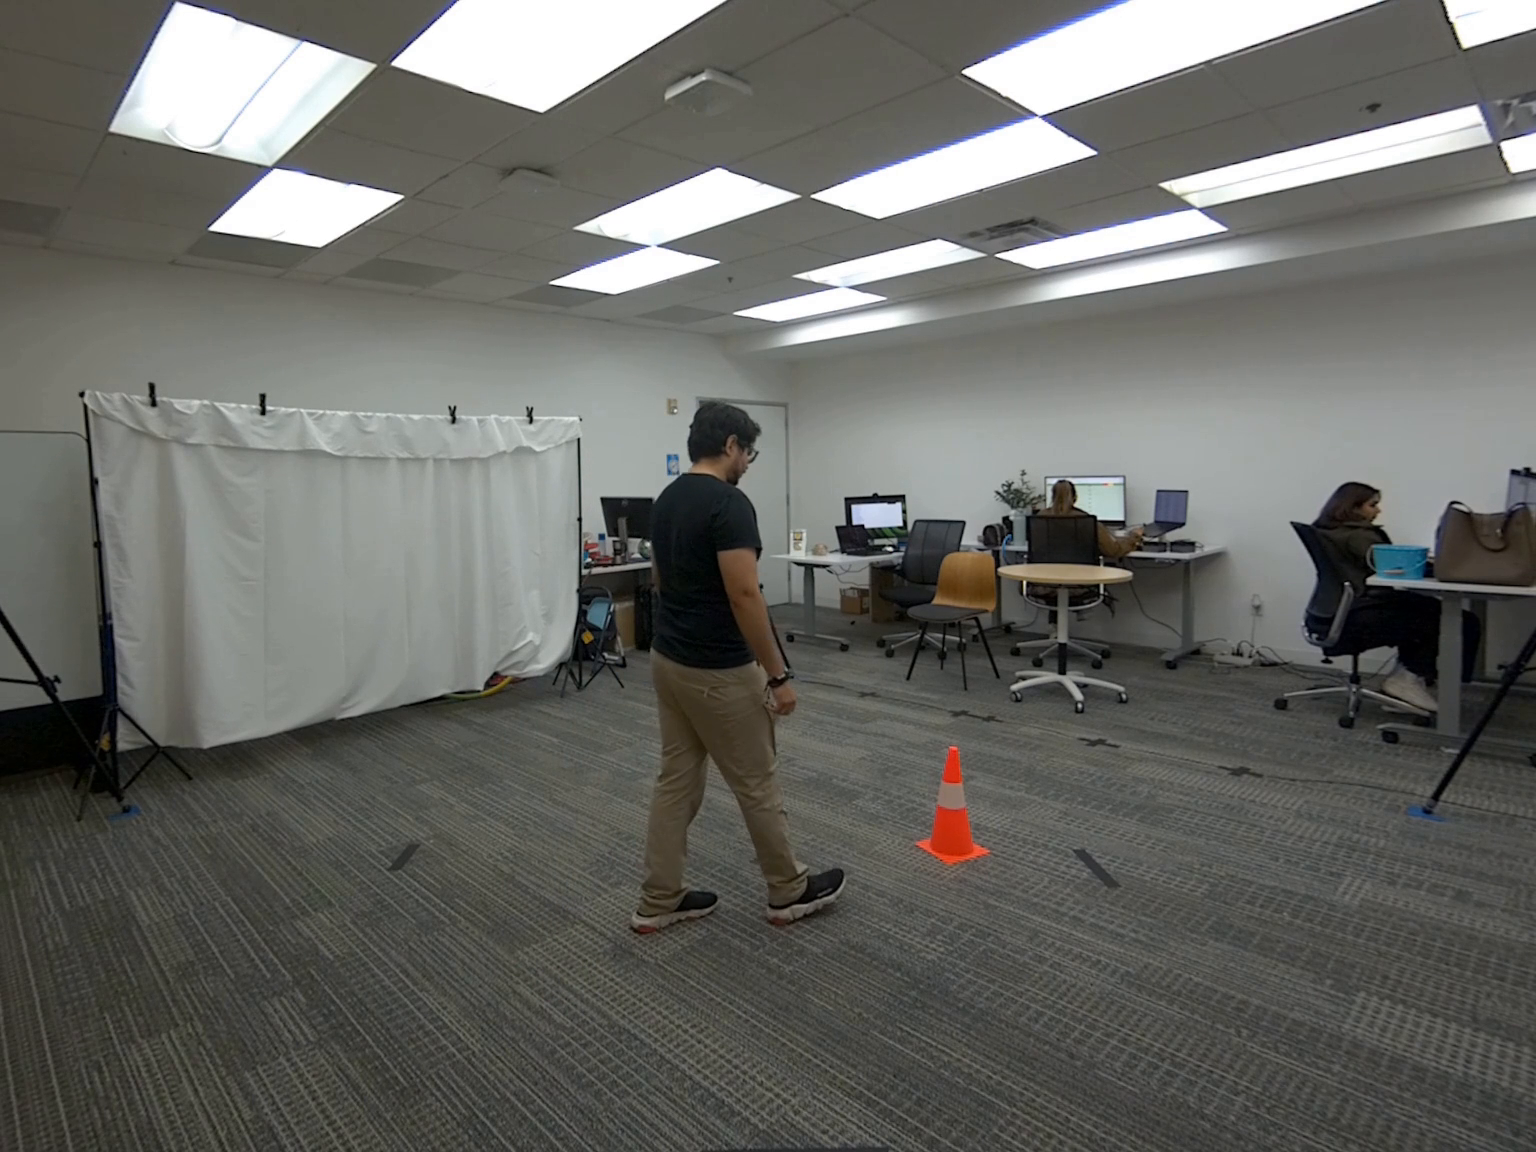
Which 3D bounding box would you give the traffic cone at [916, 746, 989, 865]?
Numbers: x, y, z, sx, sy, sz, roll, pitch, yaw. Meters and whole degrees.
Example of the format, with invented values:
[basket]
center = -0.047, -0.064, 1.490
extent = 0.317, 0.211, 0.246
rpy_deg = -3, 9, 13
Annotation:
[traffic cone]
center = 0.687, 0.830, 3.172
extent = 0.200, 0.383, 0.208
rpy_deg = -4, 3, -30
